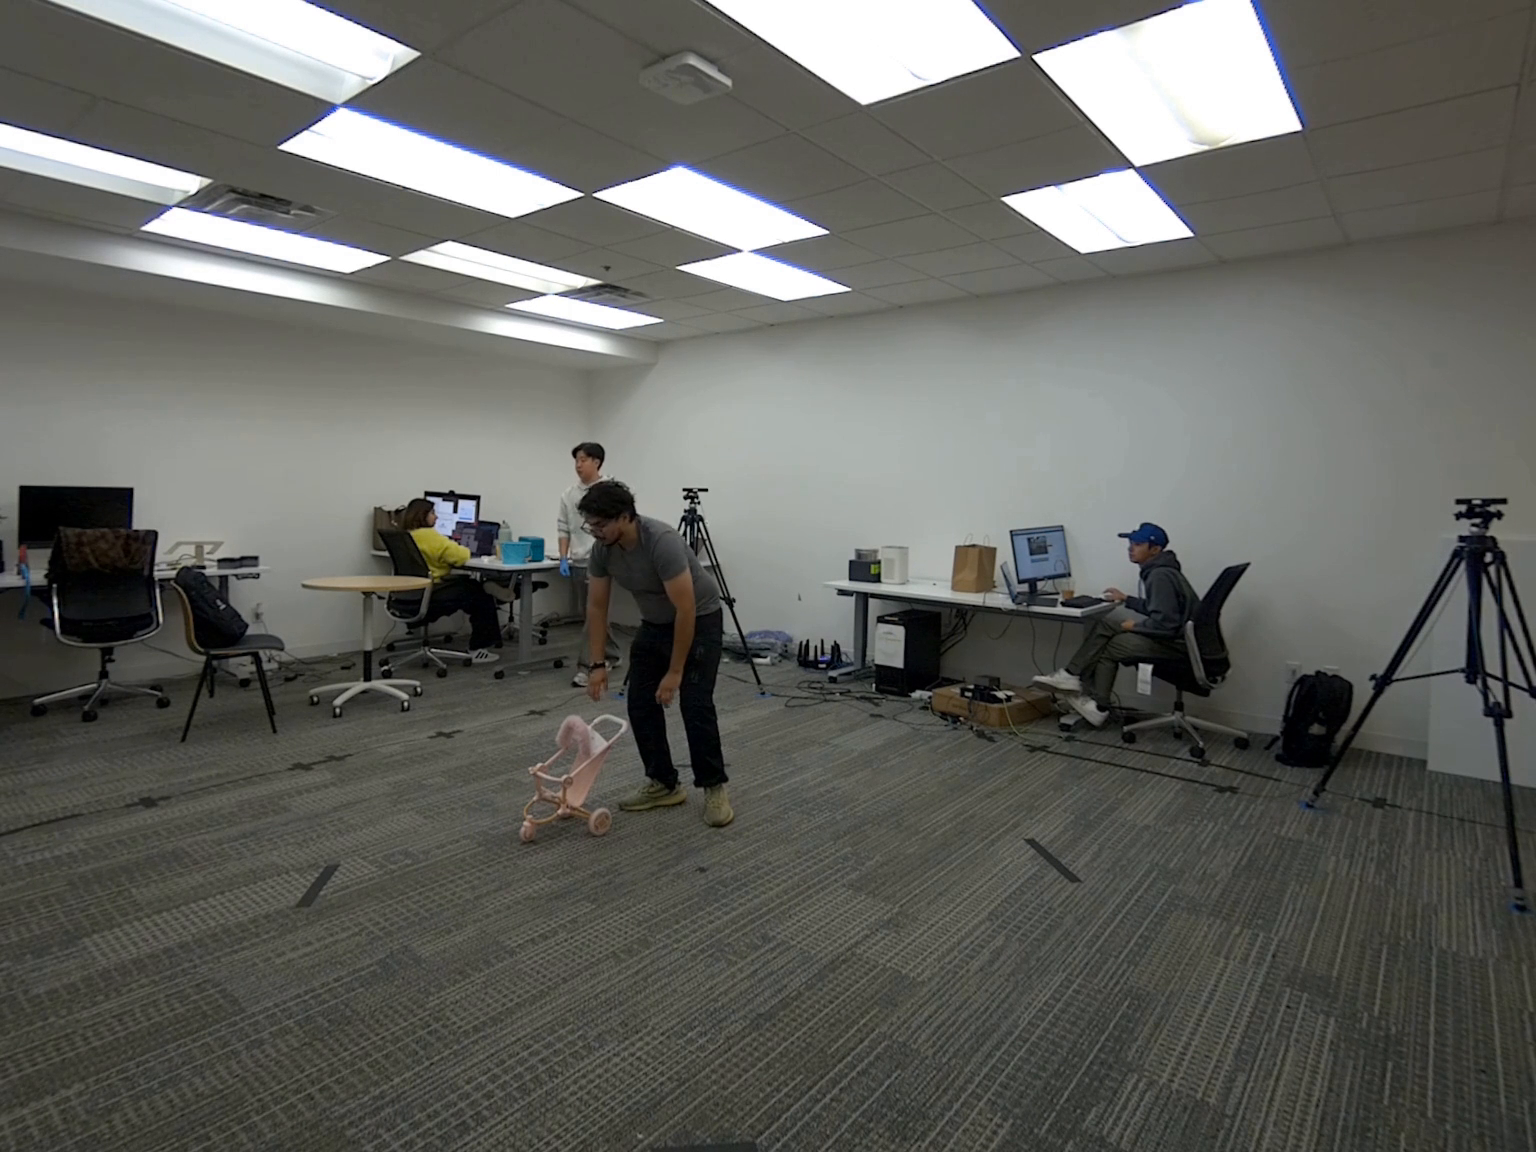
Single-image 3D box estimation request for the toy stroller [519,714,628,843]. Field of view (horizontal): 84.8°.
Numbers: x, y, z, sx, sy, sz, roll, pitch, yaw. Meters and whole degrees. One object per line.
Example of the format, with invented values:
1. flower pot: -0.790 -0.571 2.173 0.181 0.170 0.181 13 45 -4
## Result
1. toy stroller: -0.811 0.805 3.445 0.328 0.538 0.291 20 -10 -40
